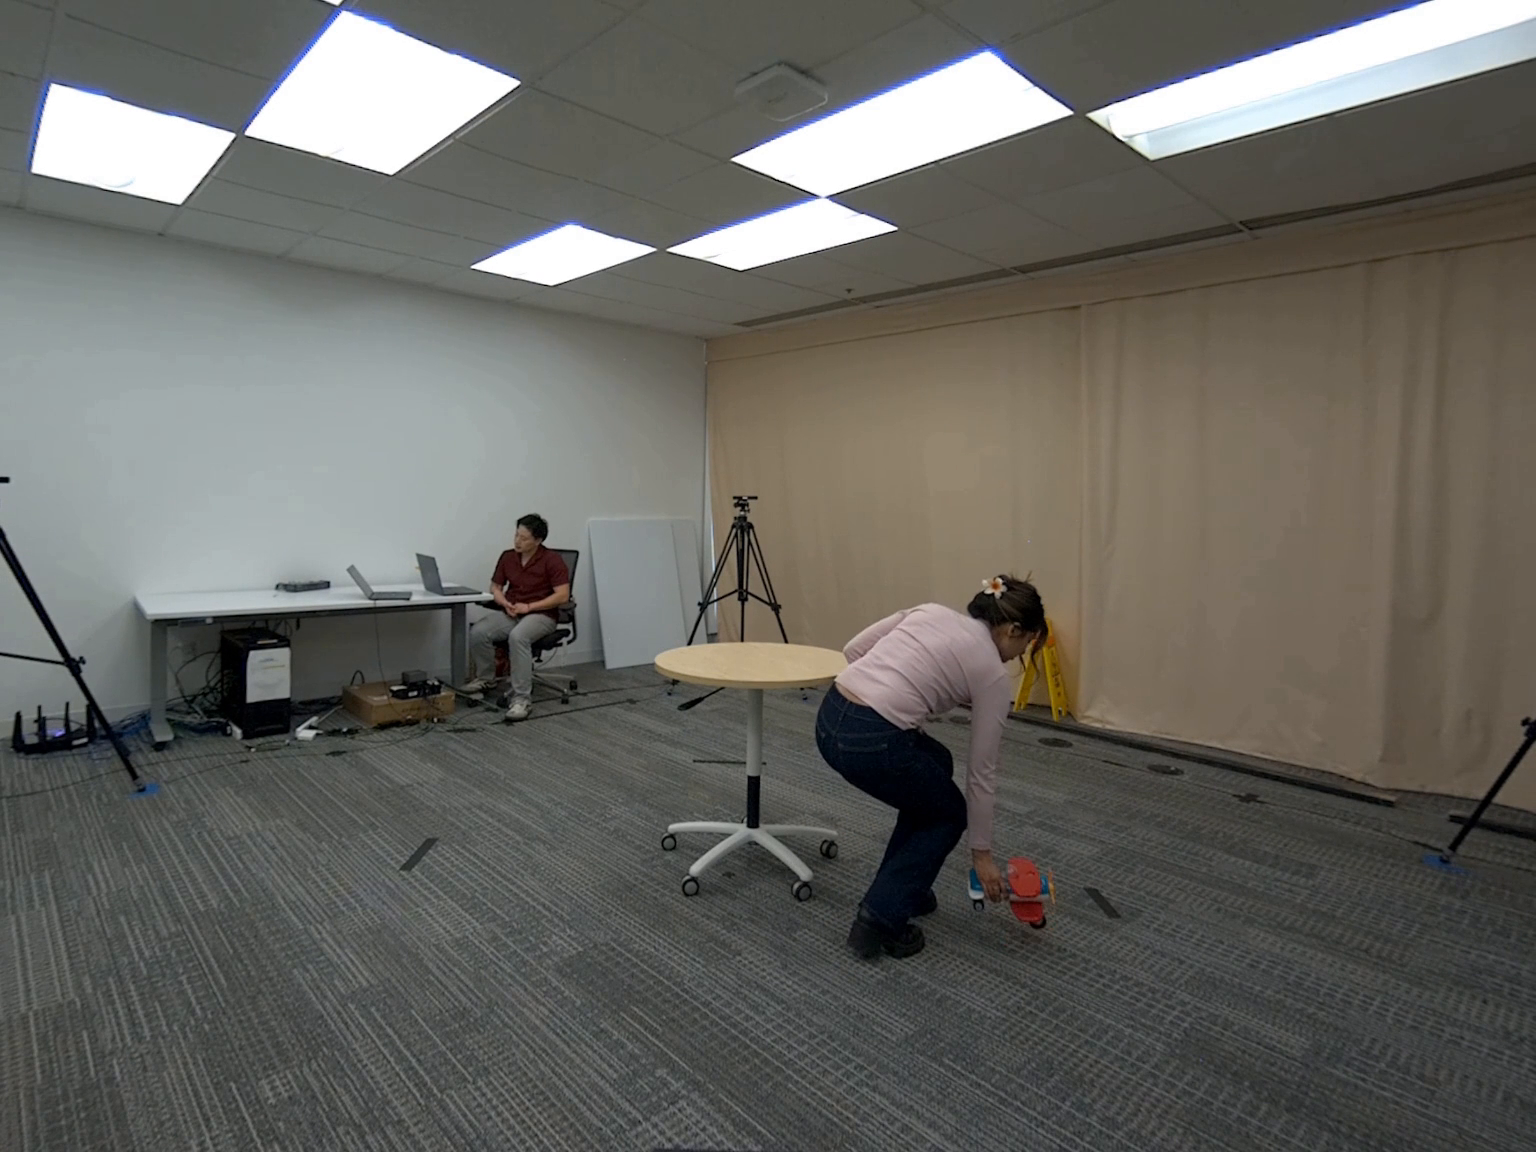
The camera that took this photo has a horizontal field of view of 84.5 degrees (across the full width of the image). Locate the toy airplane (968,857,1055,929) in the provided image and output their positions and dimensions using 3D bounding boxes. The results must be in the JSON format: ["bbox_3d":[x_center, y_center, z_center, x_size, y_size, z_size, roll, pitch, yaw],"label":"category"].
[{"bbox_3d":[0.769,1.014,2.671,0.254,0.156,0.256,5,7,-23],"label":"toy airplane"}]
